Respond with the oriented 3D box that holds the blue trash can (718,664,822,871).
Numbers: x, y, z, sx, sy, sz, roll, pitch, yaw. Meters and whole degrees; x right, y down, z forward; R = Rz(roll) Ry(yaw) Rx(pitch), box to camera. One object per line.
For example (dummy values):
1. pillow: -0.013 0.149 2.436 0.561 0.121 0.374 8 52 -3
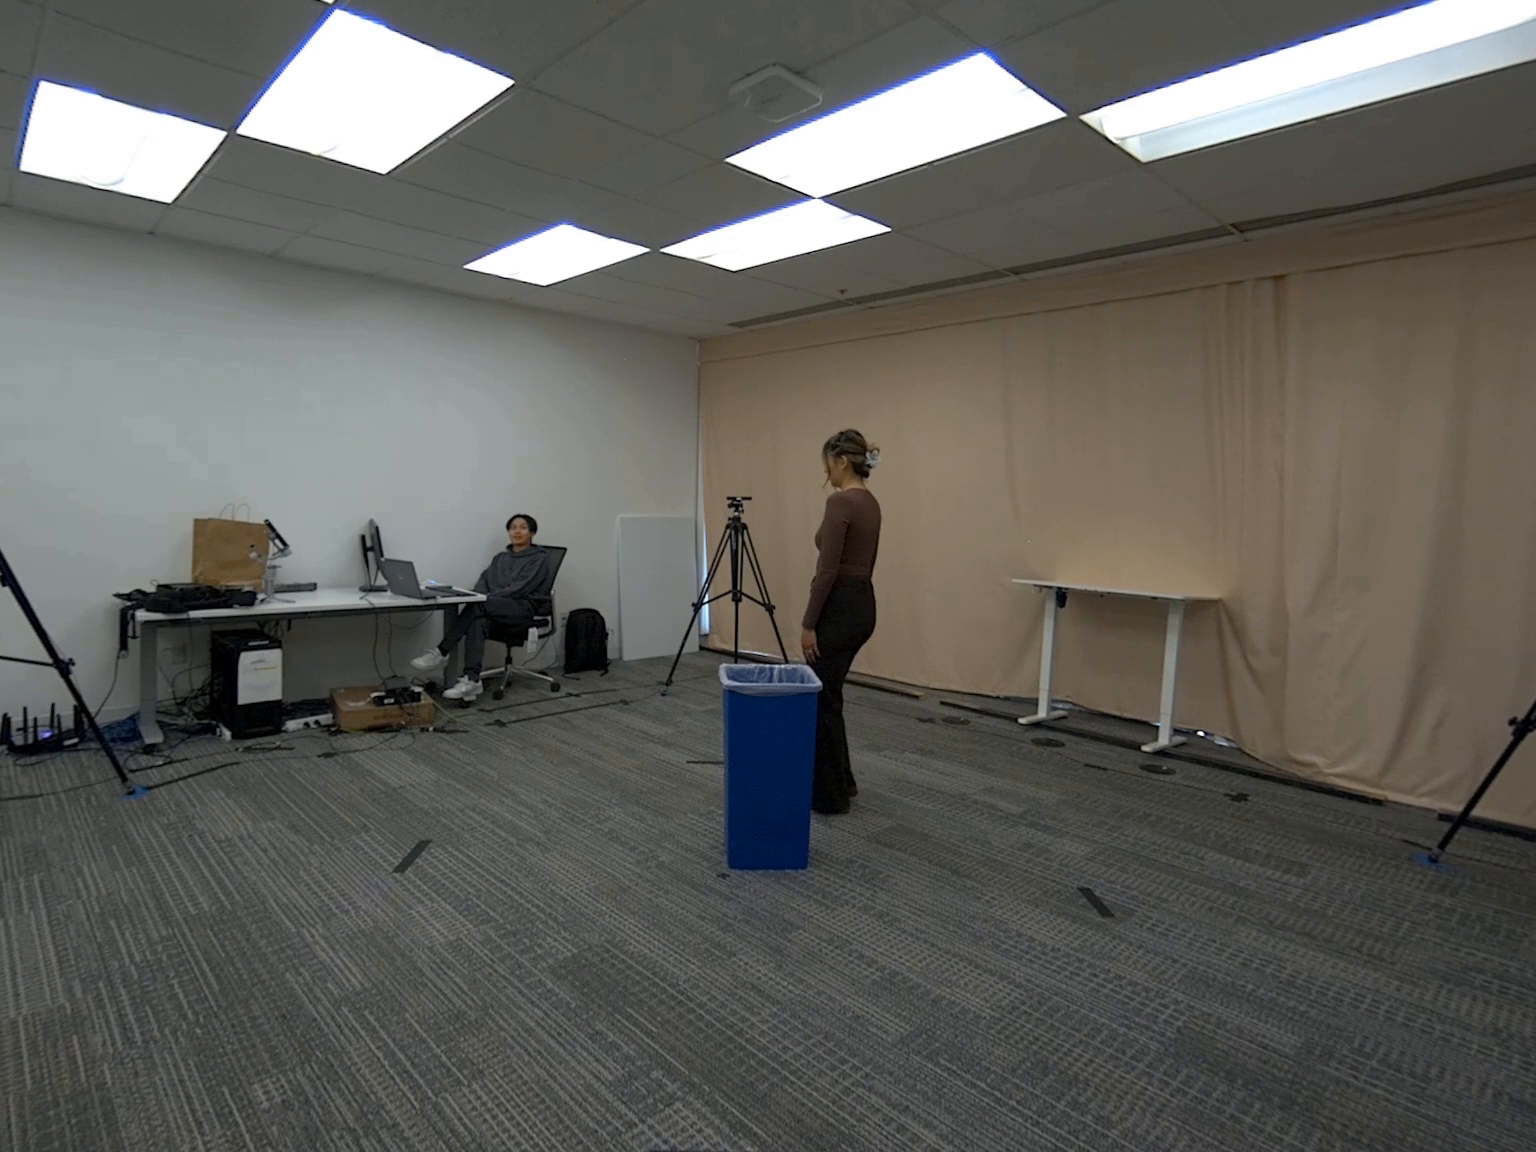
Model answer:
1. blue trash can: -0.019 0.734 3.288 0.372 0.712 0.380 2 3 -5
